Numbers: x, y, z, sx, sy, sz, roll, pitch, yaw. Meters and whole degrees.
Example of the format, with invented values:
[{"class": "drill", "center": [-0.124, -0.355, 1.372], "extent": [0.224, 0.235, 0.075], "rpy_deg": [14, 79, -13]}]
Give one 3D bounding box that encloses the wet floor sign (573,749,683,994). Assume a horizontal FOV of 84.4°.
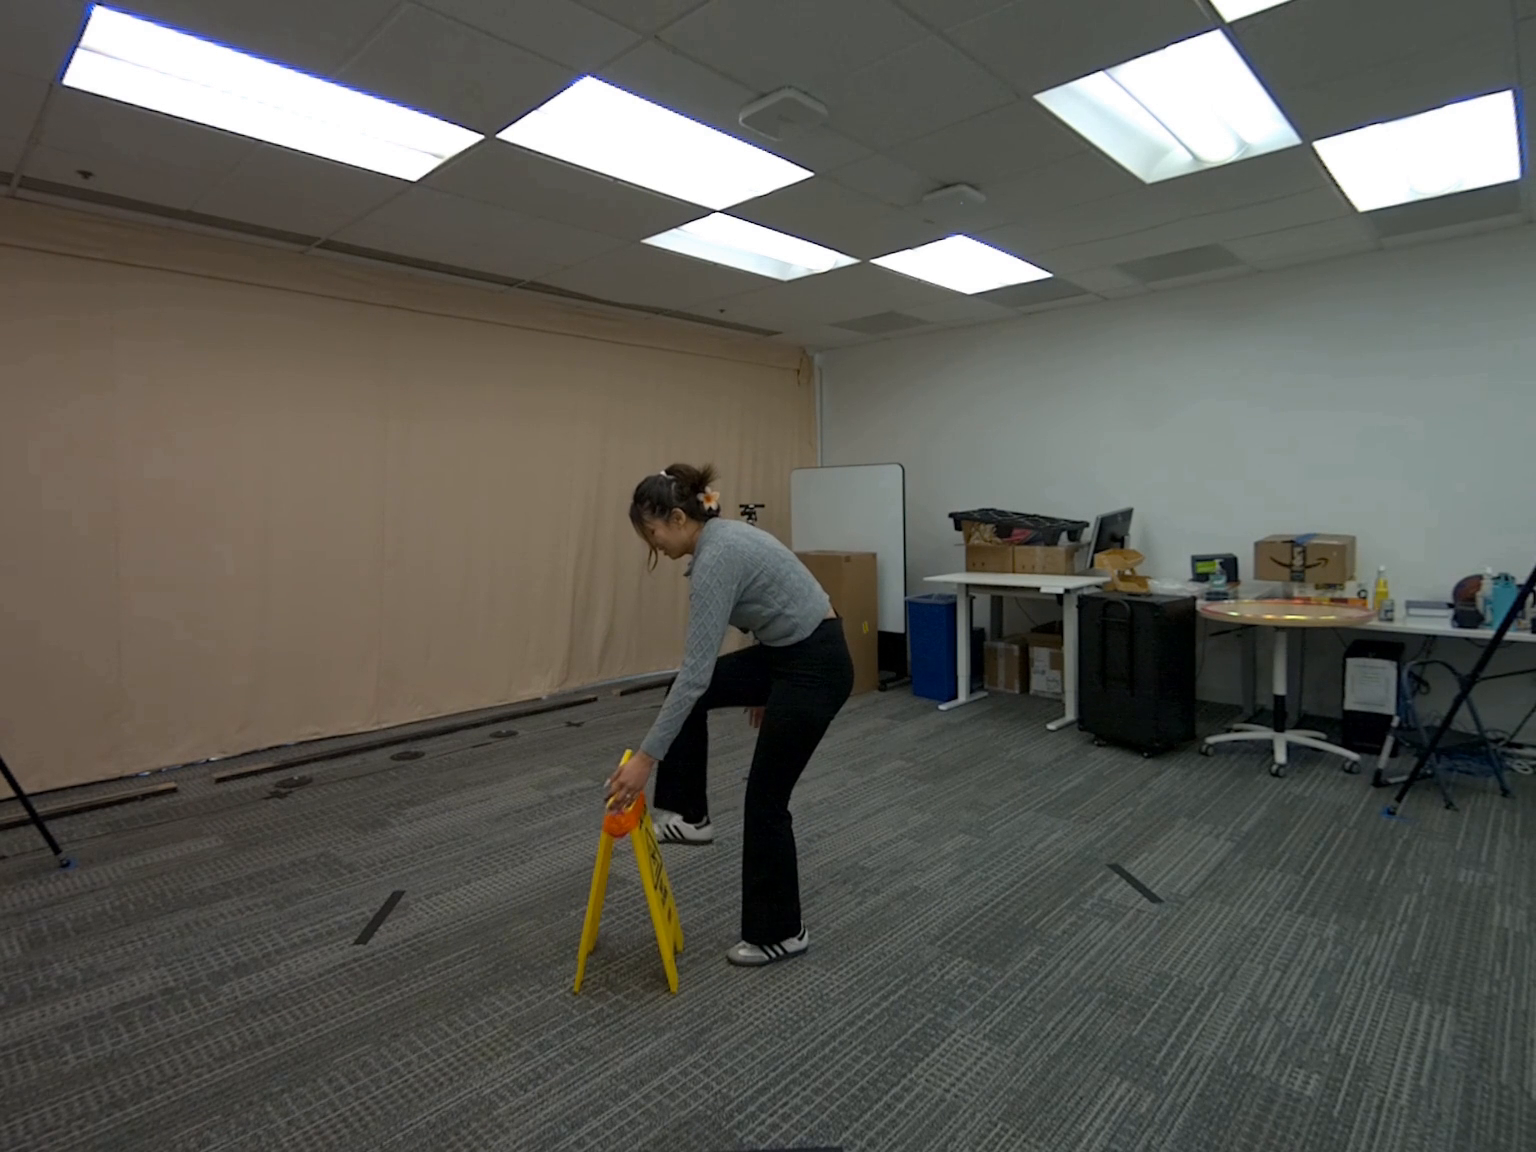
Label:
[{"class": "wet floor sign", "center": [-0.421, 0.861, 2.508], "extent": [0.290, 0.644, 0.283], "rpy_deg": [-2, 5, 1]}]
